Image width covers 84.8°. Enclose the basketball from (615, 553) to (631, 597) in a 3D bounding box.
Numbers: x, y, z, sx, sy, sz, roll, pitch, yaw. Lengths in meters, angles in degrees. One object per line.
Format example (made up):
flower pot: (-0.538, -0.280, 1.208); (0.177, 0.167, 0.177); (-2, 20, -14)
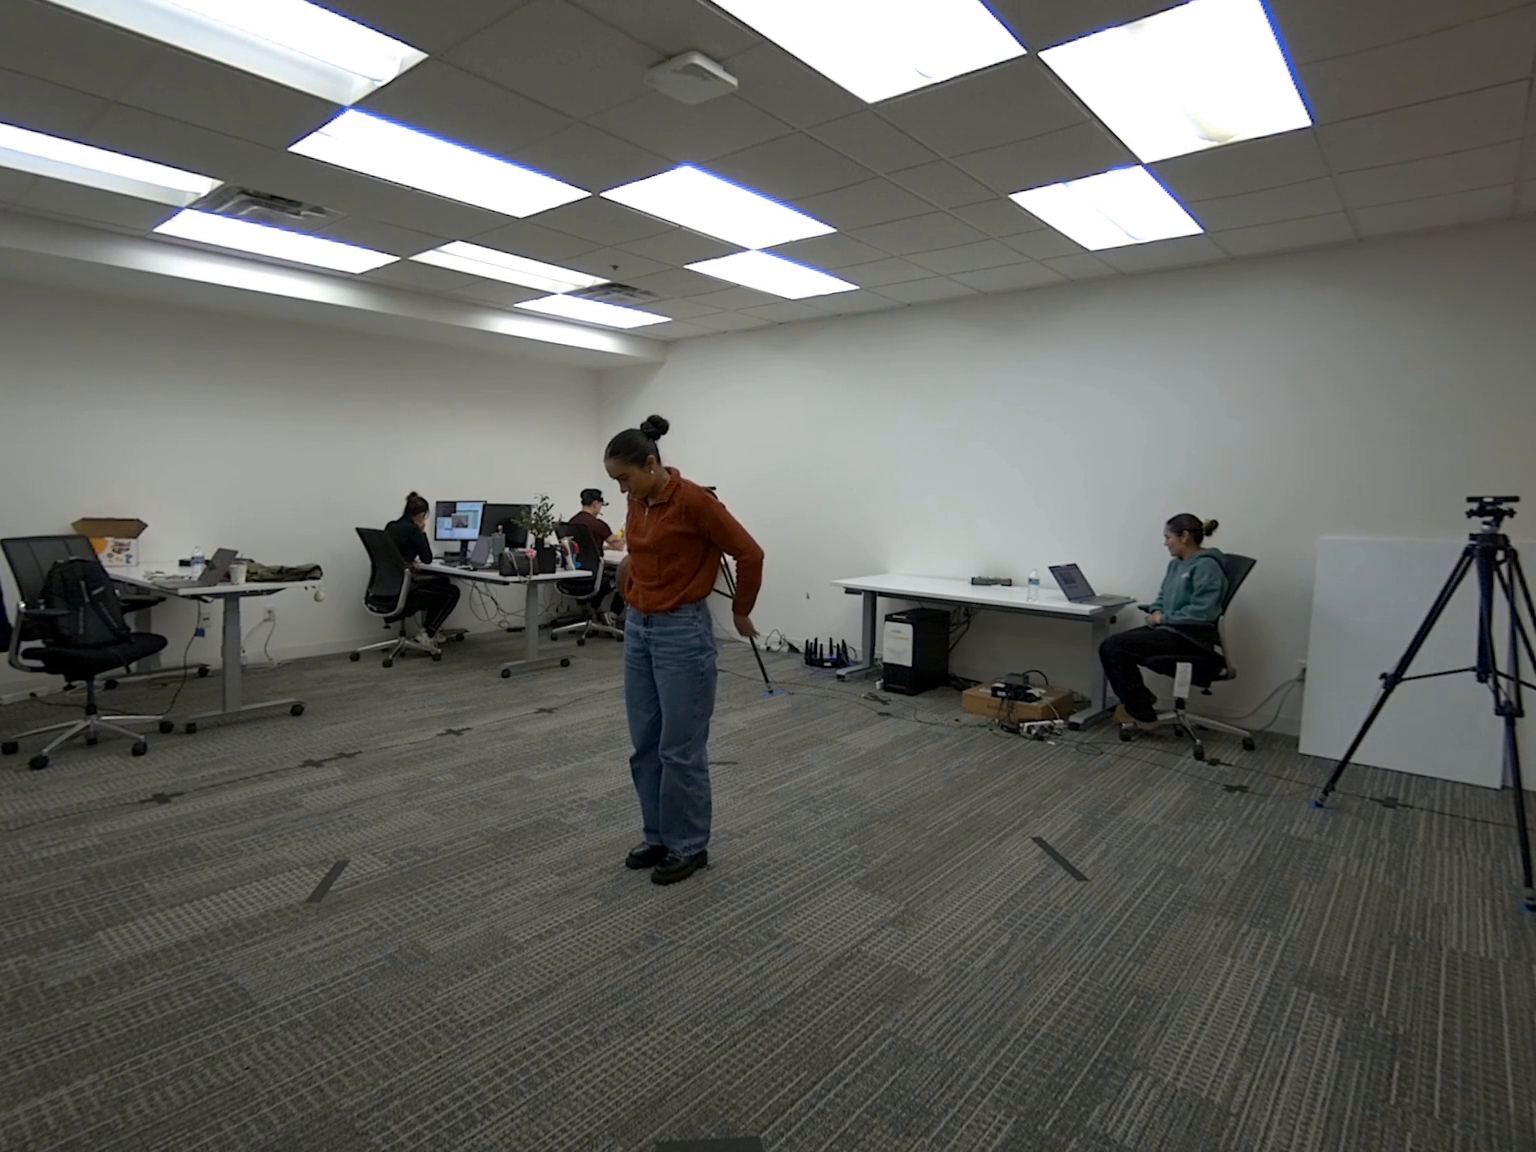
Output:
basketball: (-0.481, 0.013, 3.284); (0.235, 0.235, 0.237); (1, 4, -2)
